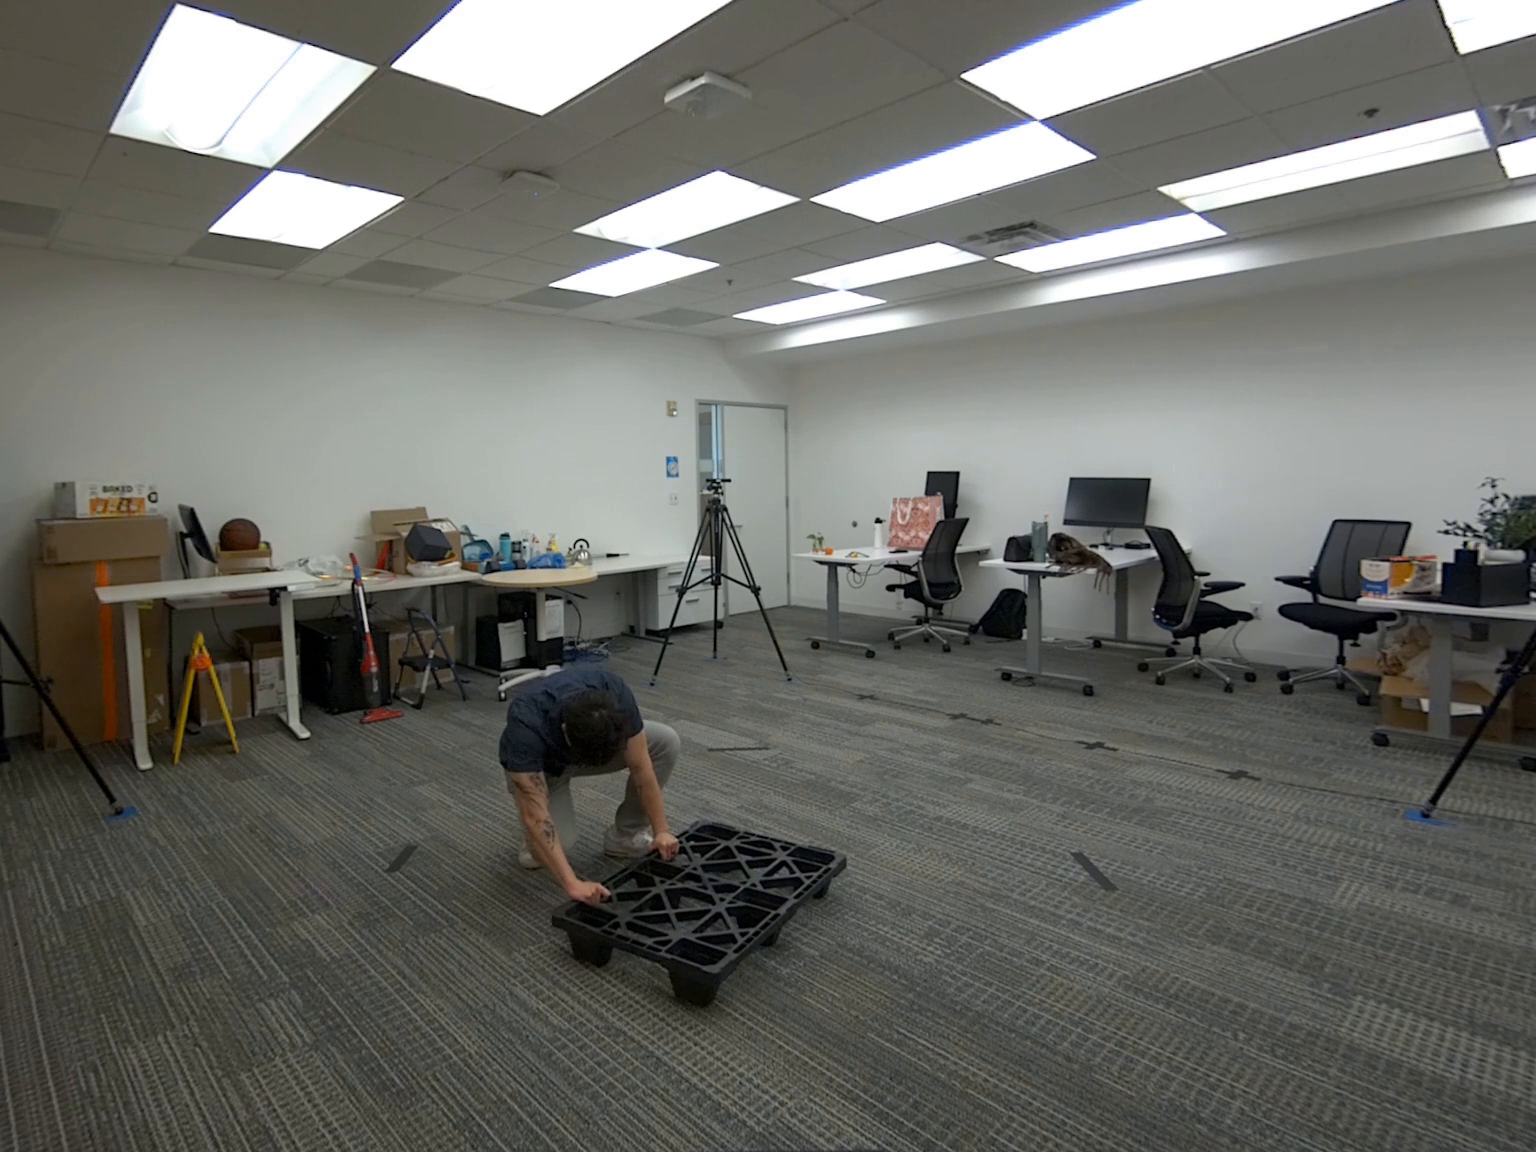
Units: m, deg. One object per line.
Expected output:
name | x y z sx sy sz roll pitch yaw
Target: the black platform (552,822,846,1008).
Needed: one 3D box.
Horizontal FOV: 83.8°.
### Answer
black platform | -0.173 1.028 2.686 0.622 0.142 0.788 3 8 31
